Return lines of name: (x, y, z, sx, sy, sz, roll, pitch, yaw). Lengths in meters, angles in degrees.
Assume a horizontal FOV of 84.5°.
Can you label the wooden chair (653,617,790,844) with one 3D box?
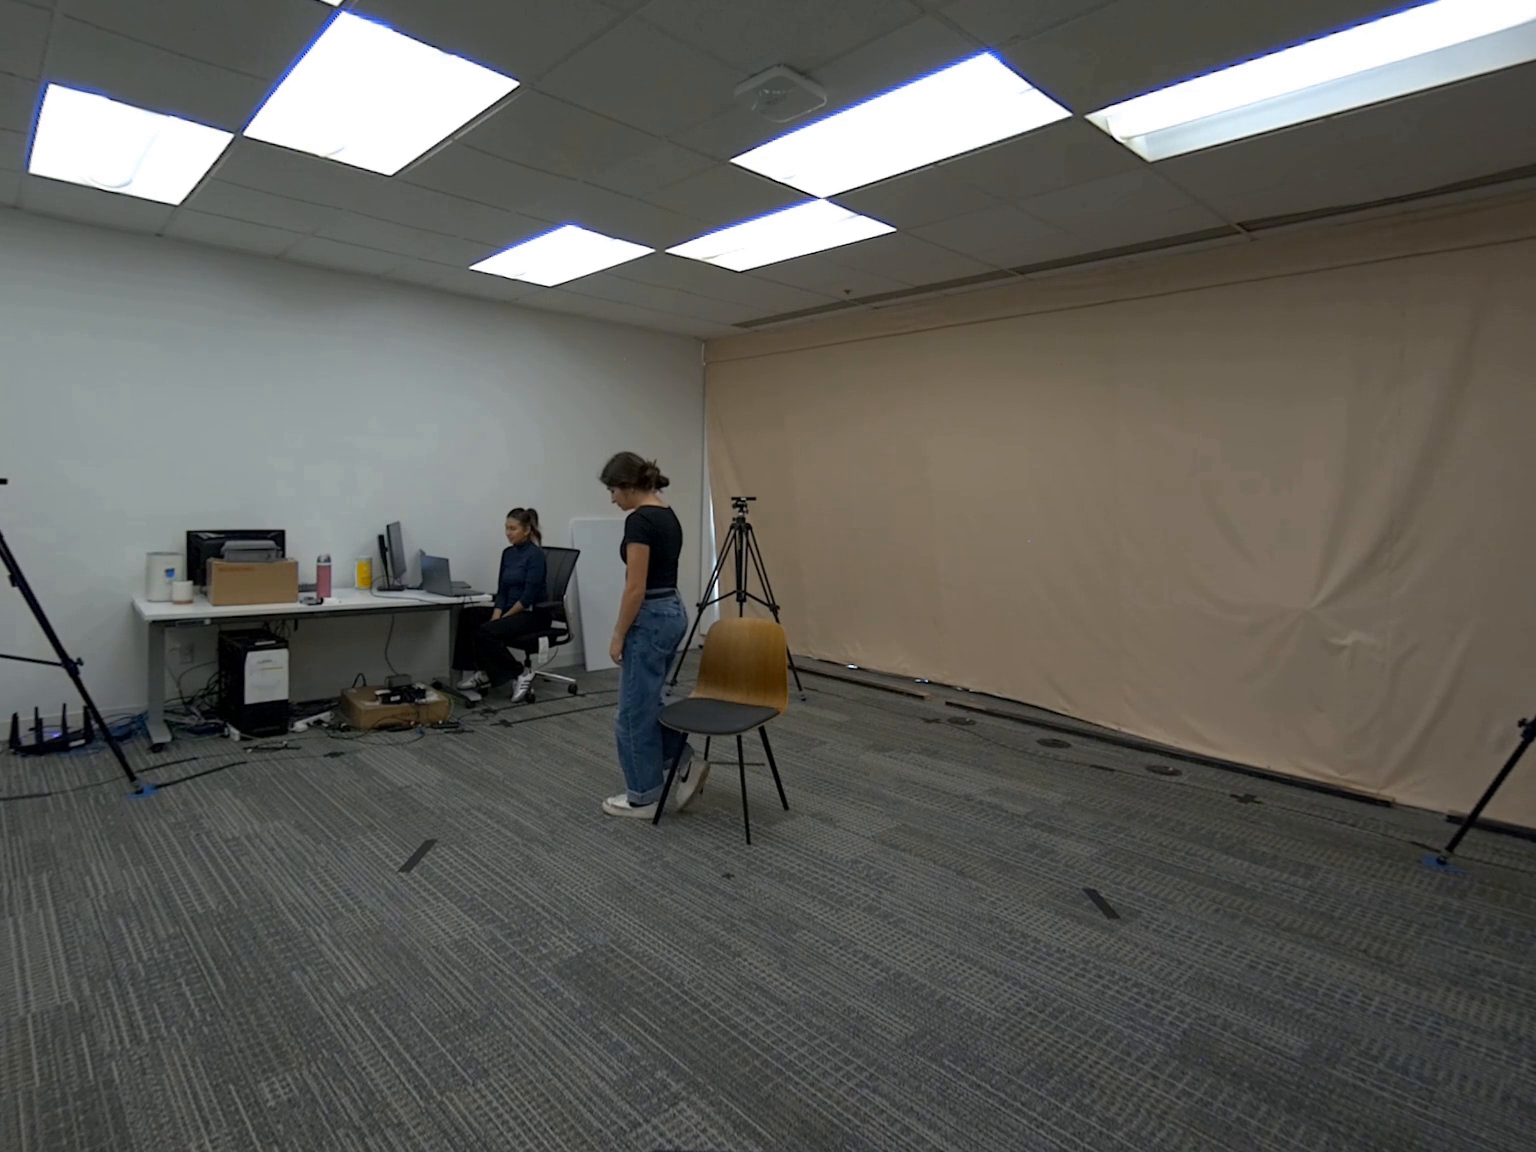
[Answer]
wooden chair: (-0.195, 0.631, 3.648, 0.487, 0.878, 0.513, 2, -1, 23)
